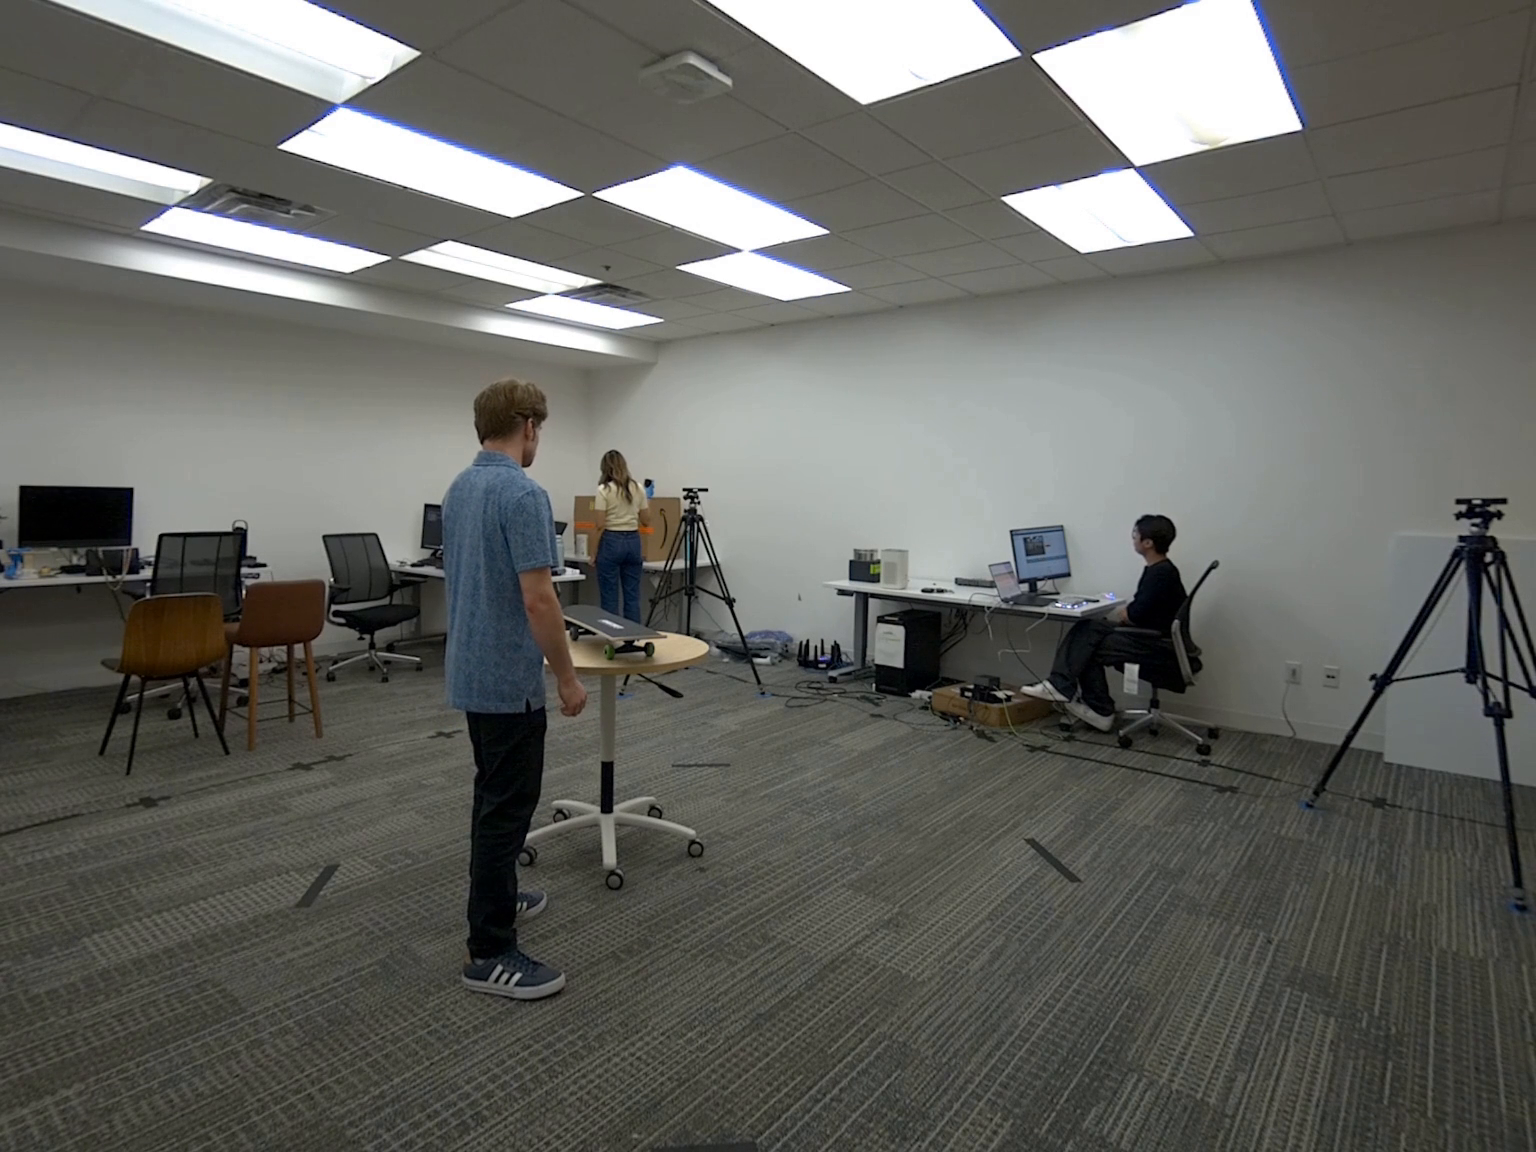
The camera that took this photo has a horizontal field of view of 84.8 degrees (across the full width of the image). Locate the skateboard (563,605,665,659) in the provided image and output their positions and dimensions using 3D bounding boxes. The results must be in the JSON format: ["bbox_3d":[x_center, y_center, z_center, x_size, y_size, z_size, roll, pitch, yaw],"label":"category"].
[{"bbox_3d":[-0.613,0.219,3.211,0.188,0.110,0.809,-2,7,-29],"label":"skateboard"}]
